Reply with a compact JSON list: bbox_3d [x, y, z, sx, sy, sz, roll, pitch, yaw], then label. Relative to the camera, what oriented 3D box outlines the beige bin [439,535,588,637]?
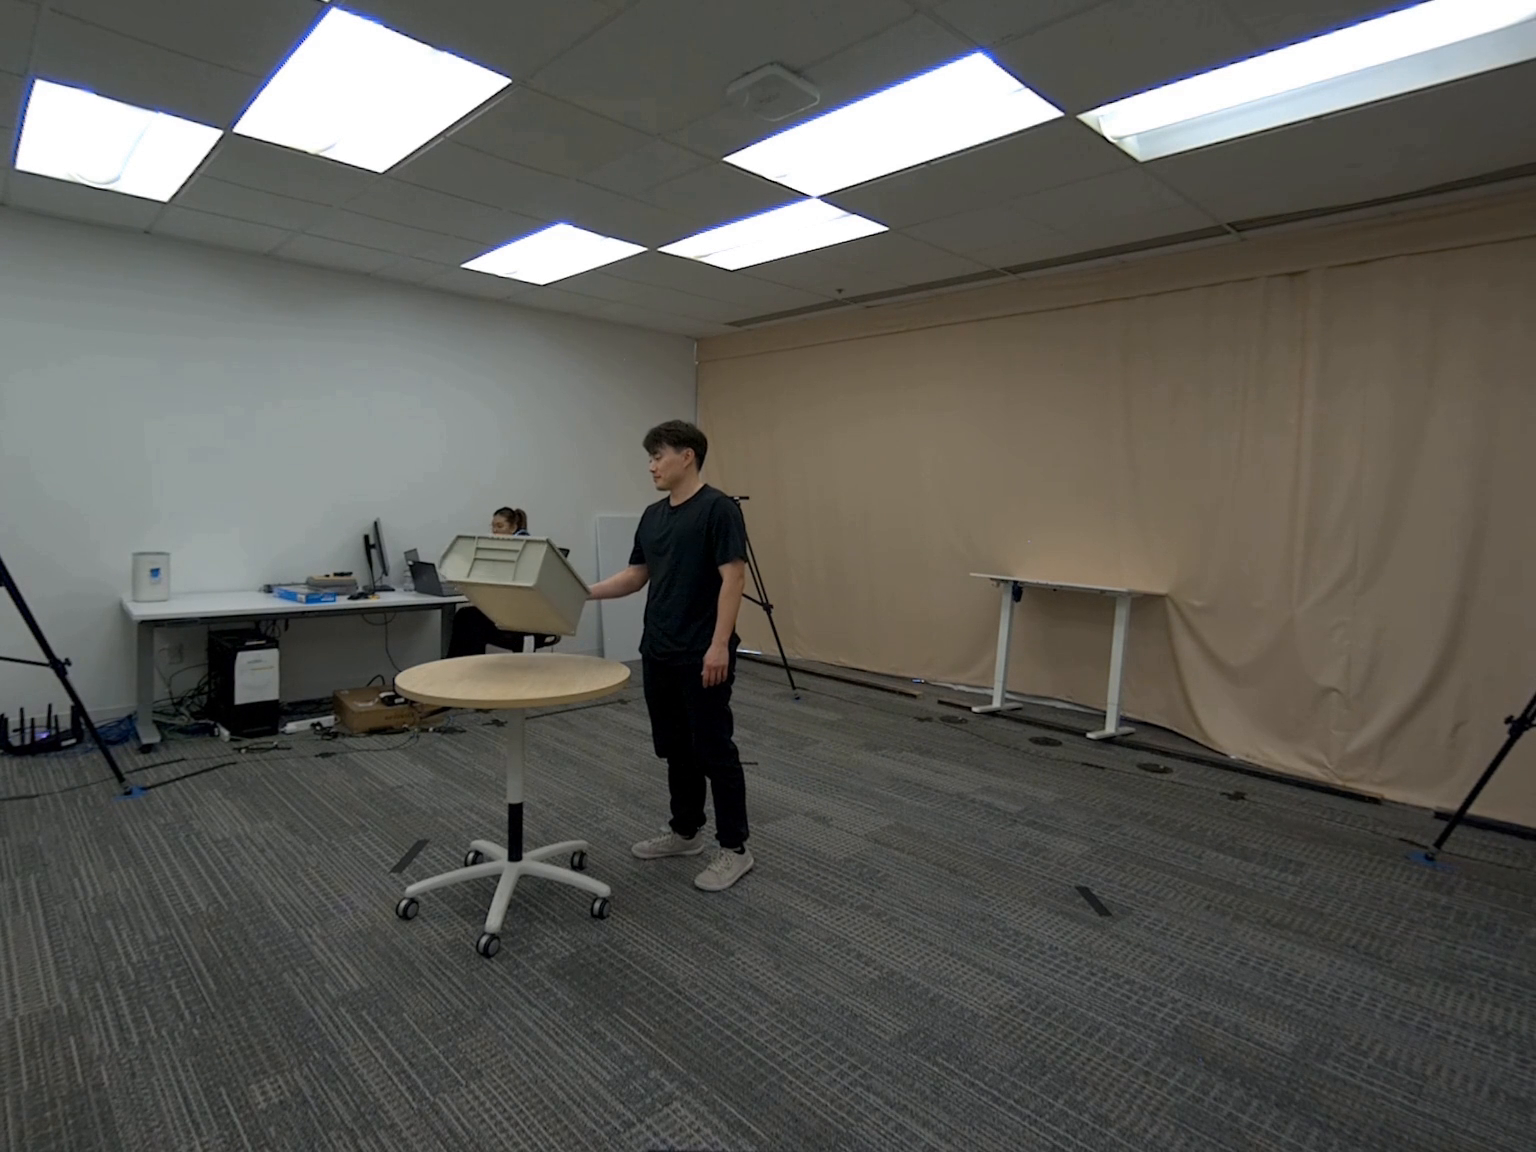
[{"bbox_3d":[-0.884,0.033,2.936,0.382,0.191,0.411,5,-26,15],"label":"beige bin"}]
